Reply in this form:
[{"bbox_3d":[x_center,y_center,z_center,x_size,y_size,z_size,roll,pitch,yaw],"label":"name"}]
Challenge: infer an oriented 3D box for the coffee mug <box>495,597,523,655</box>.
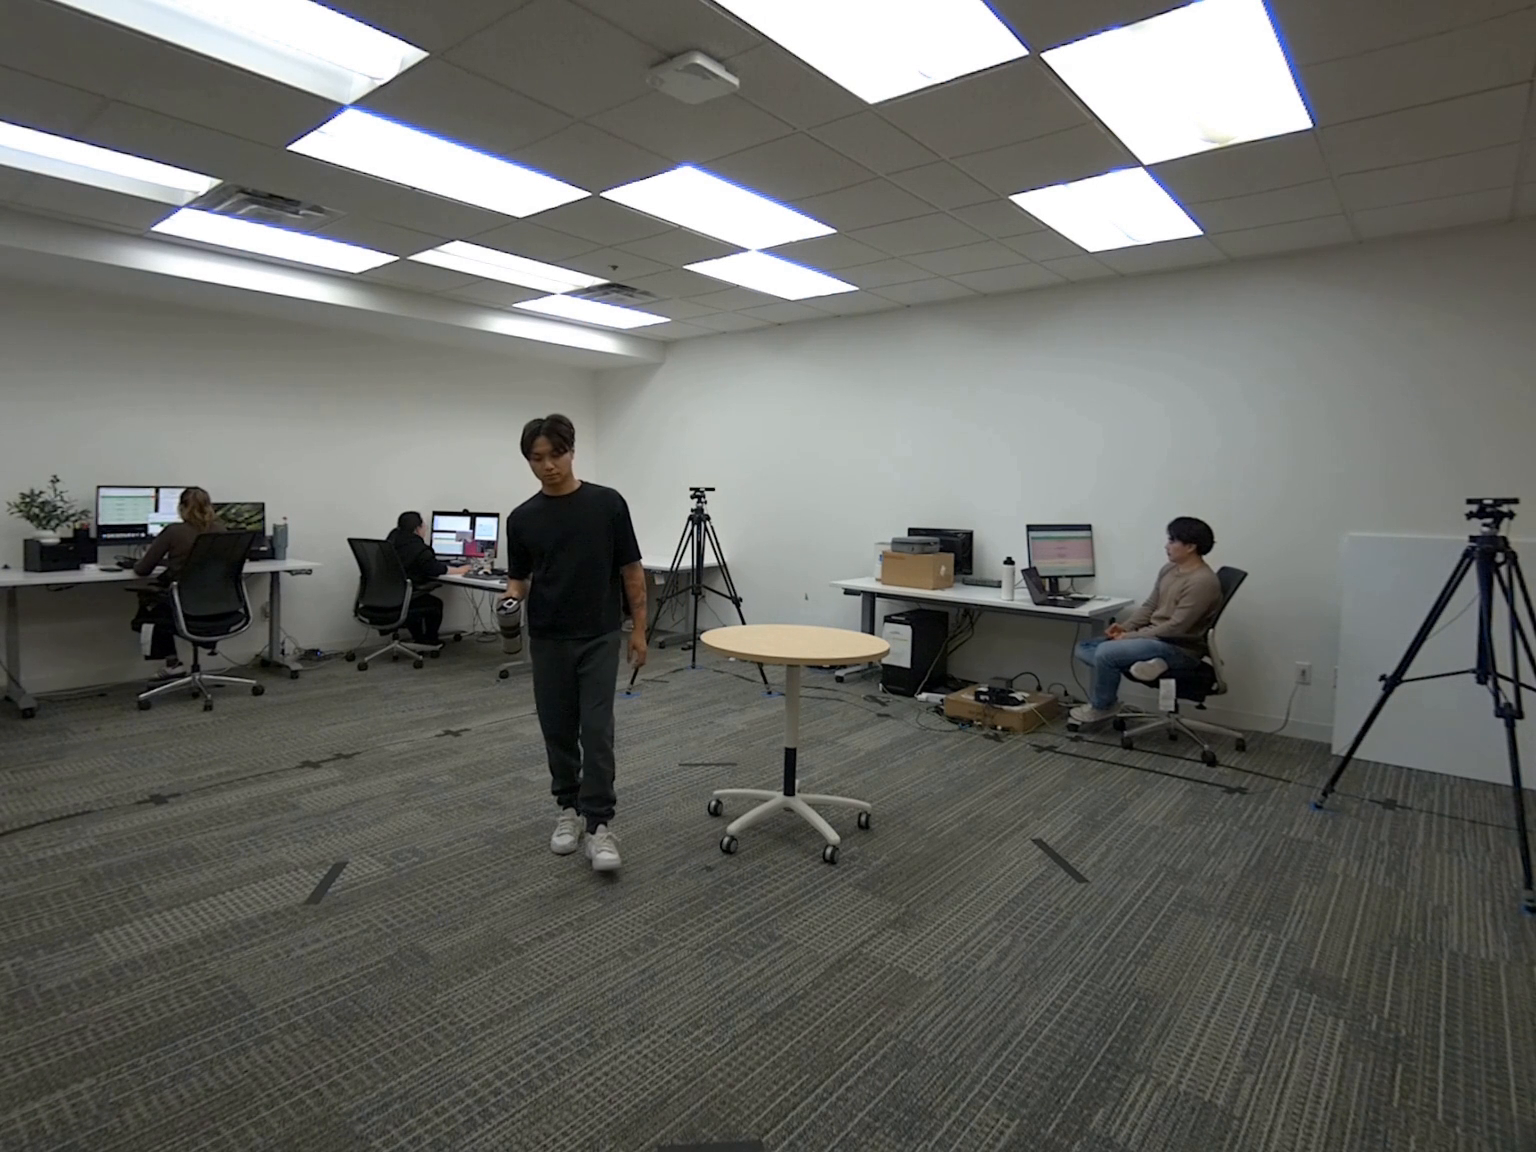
[{"bbox_3d":[-0.932,0.172,3.062,0.091,0.197,0.121,16,36,28],"label":"coffee mug"}]
